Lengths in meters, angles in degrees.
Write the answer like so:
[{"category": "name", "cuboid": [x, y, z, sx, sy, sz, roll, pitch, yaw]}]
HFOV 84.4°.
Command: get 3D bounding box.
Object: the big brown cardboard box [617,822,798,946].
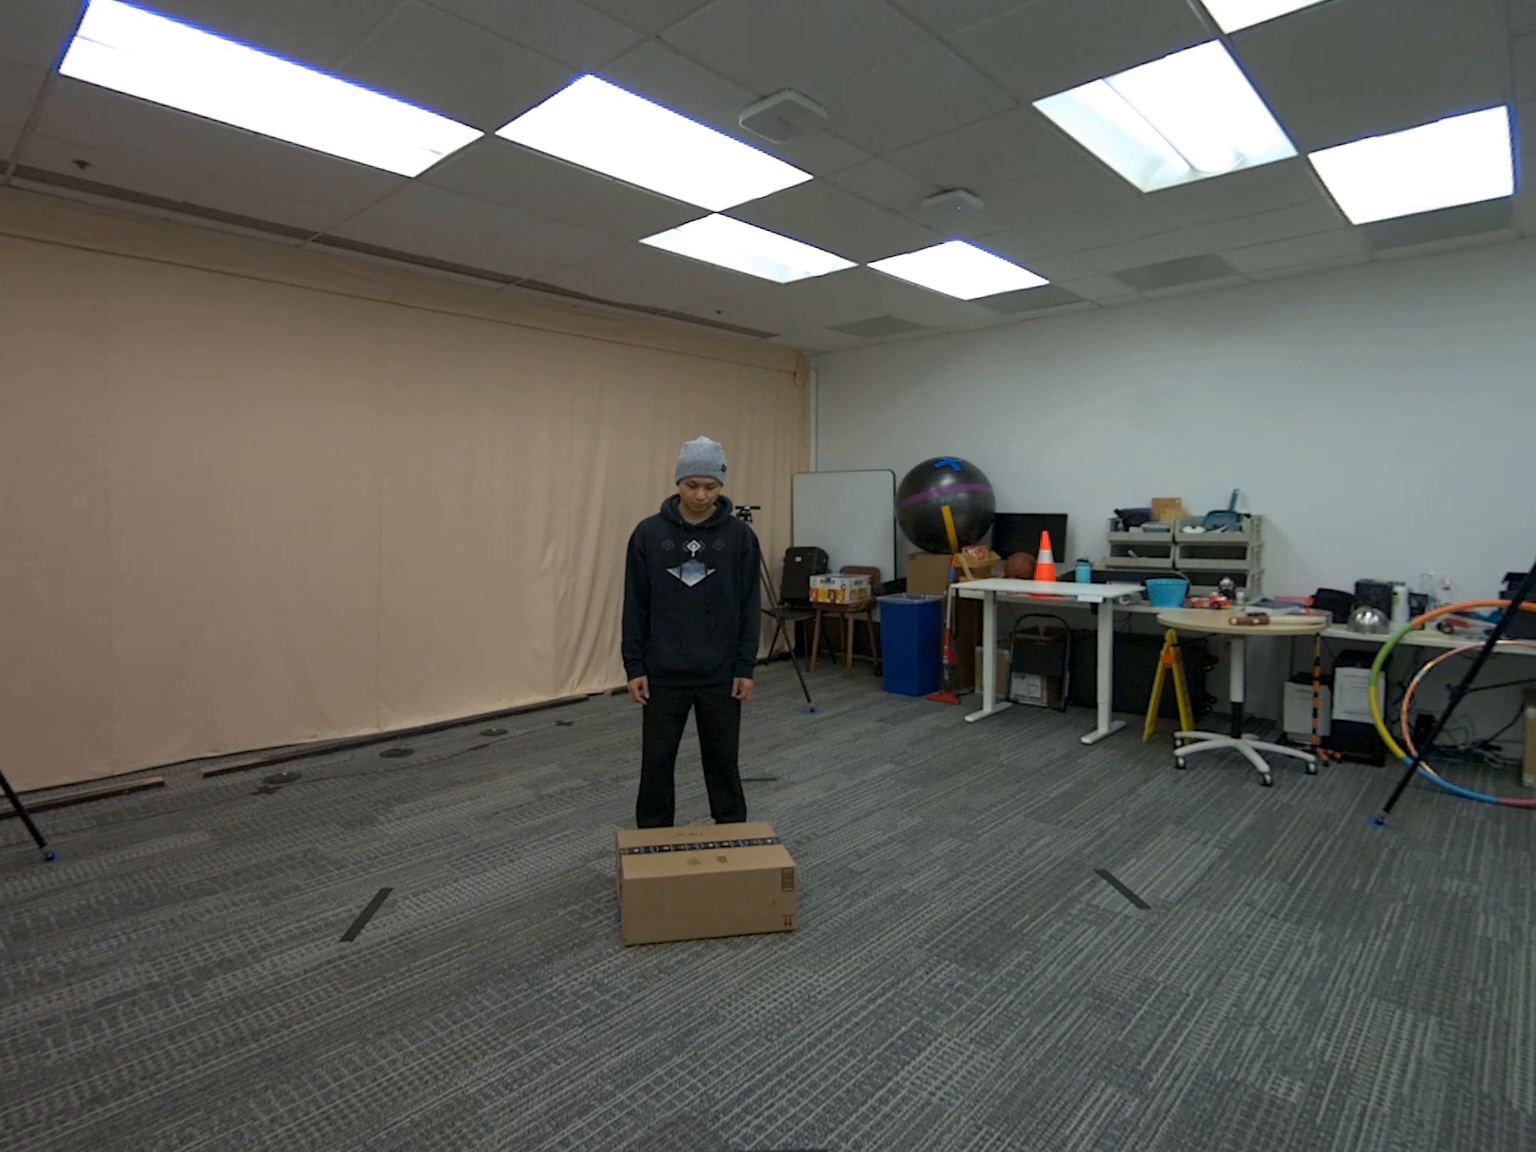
[{"category": "big brown cardboard box", "cuboid": [-0.229, 1.041, 2.900, 0.583, 0.233, 0.423, -2, 4, -10]}]
